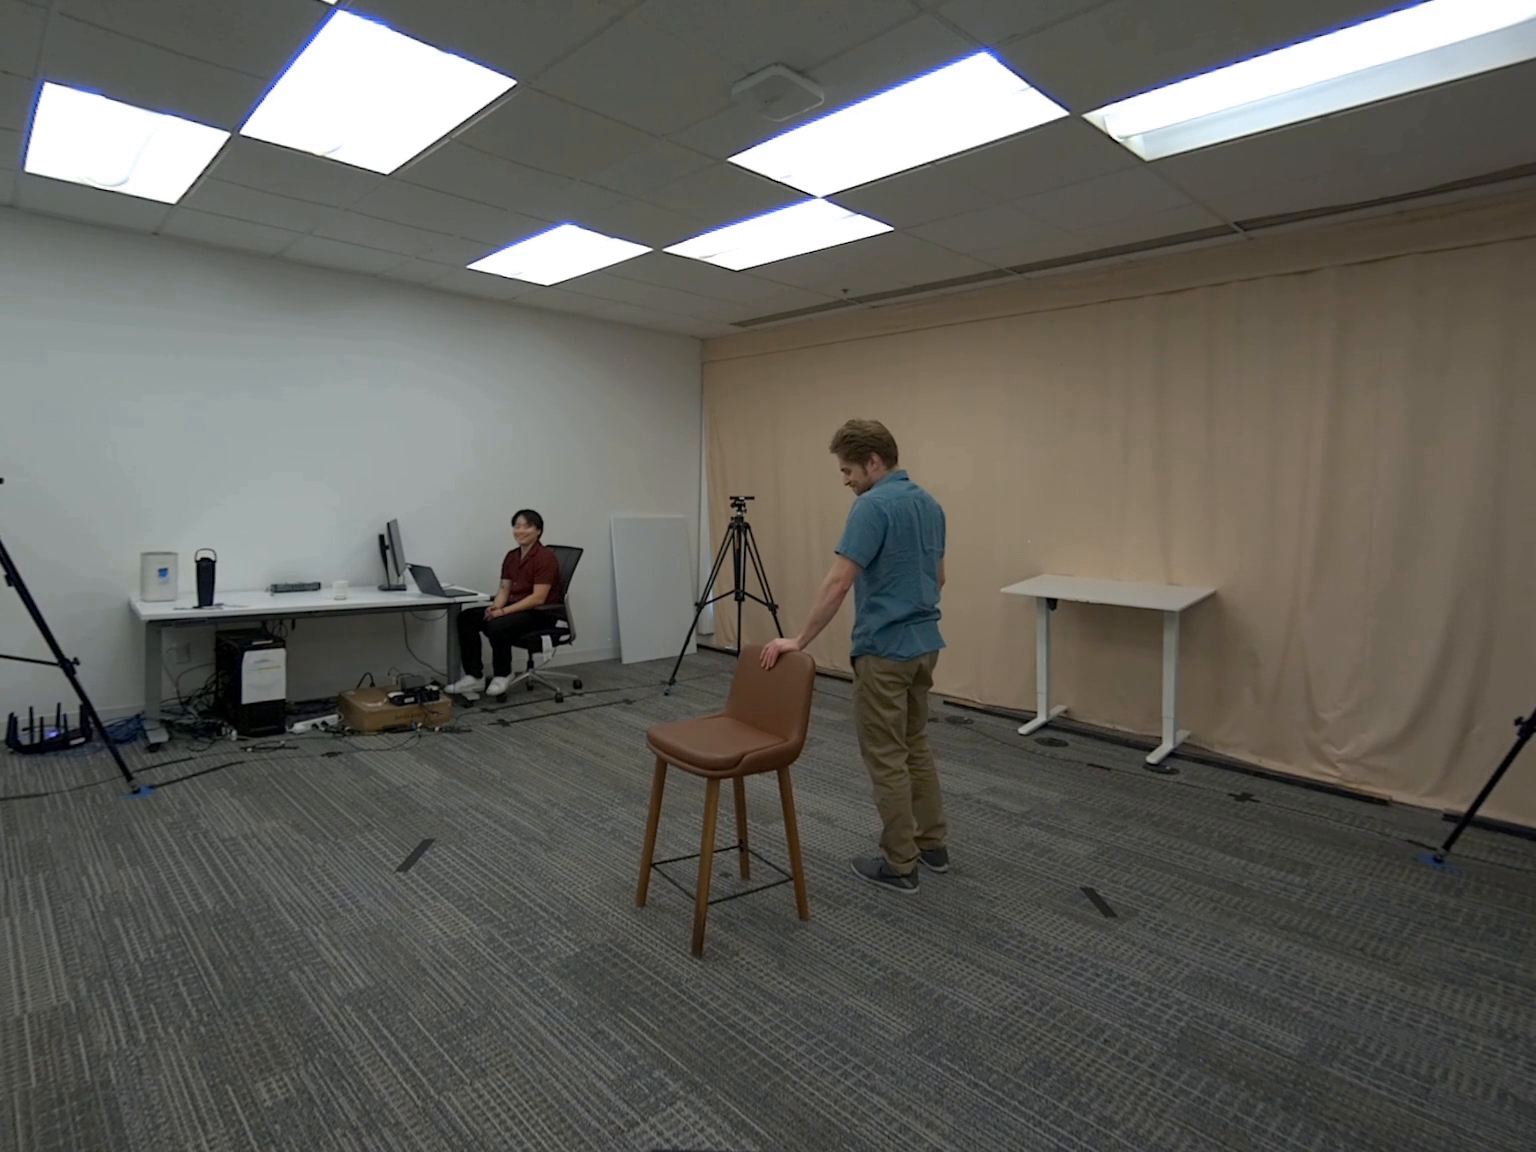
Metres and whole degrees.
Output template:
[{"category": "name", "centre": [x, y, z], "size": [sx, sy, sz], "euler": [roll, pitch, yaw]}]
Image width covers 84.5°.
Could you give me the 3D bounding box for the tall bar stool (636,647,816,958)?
[{"category": "tall bar stool", "centre": [-0.136, 0.696, 2.799], "size": [0.457, 0.888, 0.467], "euler": [1, 3, -34]}]
